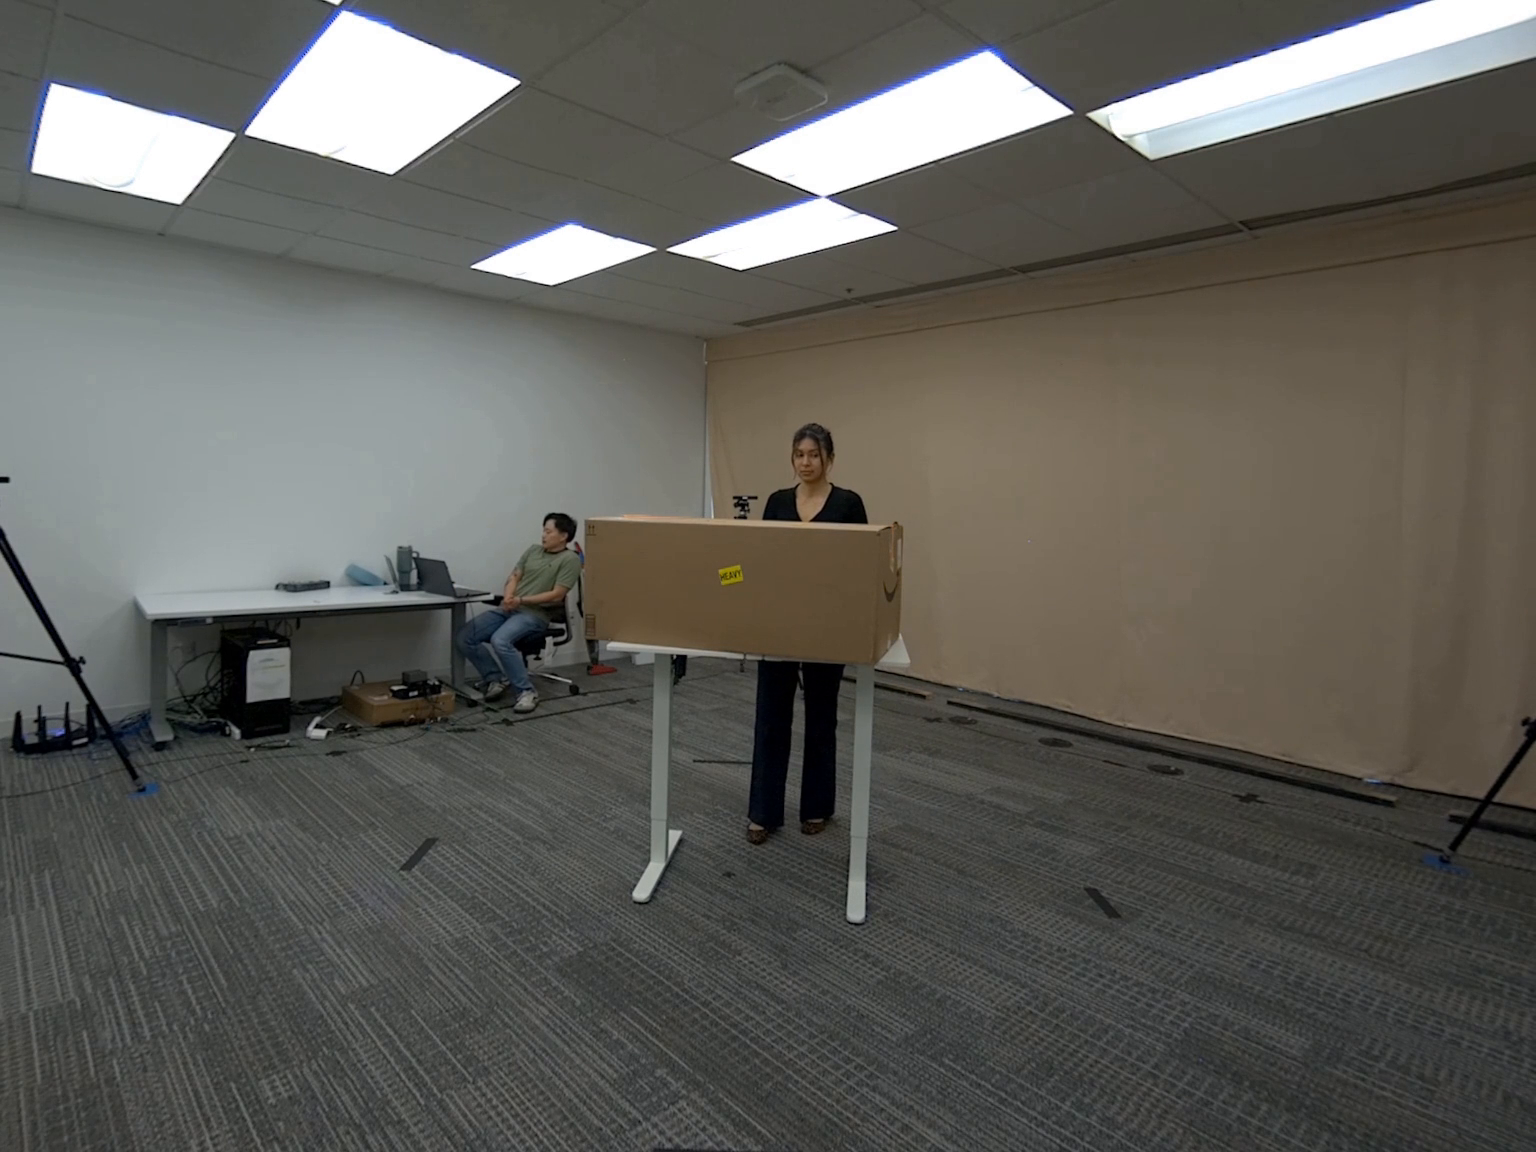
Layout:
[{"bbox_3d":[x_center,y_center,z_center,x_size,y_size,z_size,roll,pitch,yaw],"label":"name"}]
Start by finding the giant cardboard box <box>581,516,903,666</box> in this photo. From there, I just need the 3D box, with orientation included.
[{"bbox_3d":[-0.085,0.013,3.030,1.042,0.425,0.570,4,5,19],"label":"giant cardboard box"}]
